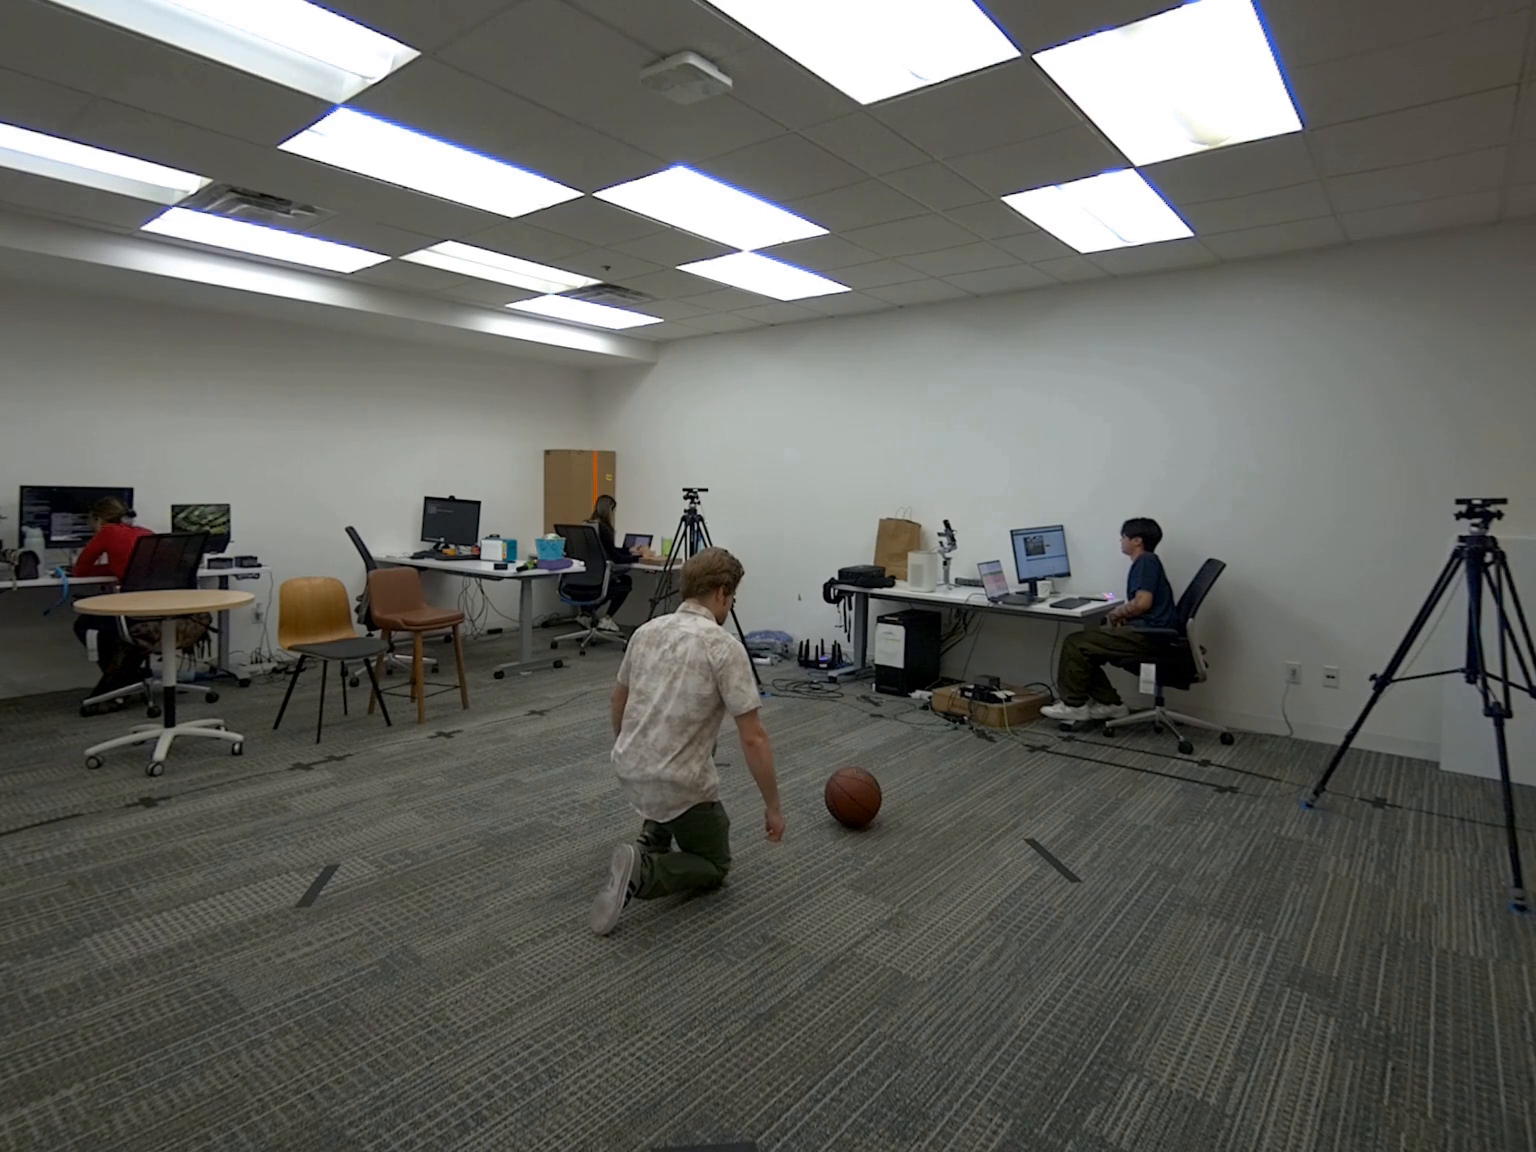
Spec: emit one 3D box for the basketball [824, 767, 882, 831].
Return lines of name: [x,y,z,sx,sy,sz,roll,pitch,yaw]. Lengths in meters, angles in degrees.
basketball: [0.342,0.908,3.560,0.235,0.235,0.237,1,4,-2]
